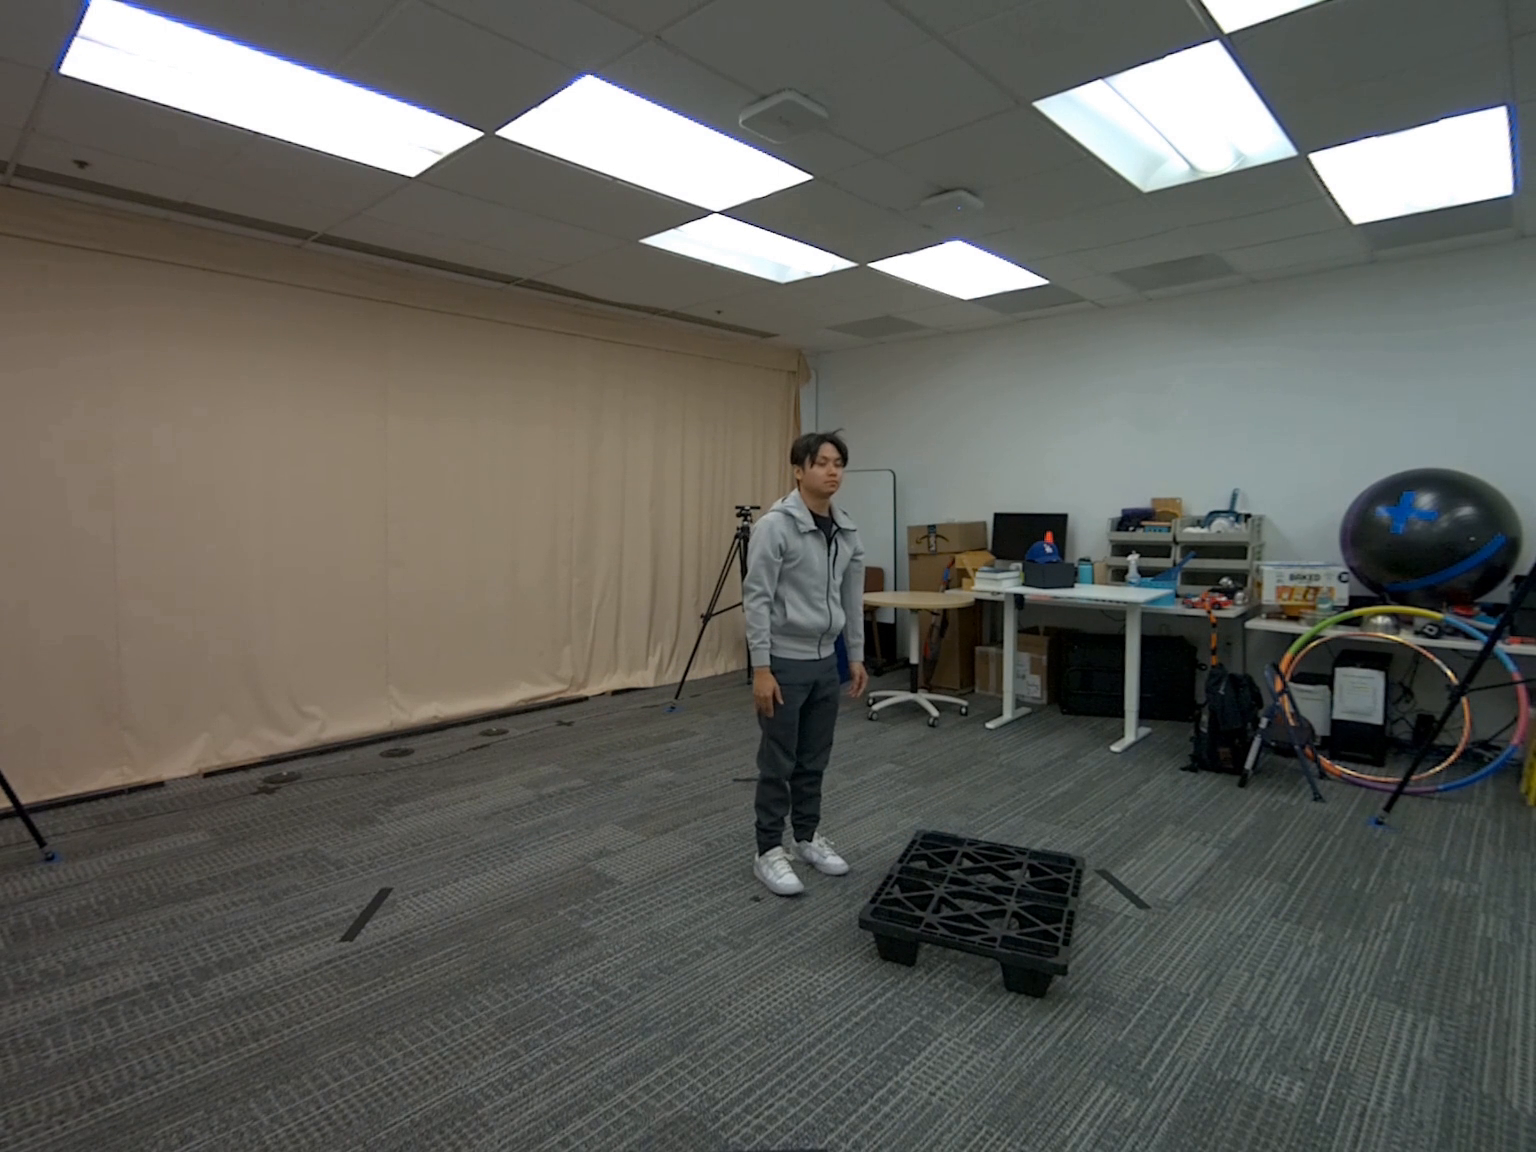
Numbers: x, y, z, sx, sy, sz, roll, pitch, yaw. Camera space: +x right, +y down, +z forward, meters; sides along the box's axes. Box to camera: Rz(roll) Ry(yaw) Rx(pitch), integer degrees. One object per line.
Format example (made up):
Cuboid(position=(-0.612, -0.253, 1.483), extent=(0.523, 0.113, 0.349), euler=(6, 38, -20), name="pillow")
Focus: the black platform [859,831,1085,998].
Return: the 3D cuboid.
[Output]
Cuboid(position=(0.712, 1.088, 2.798), extent=(0.621, 0.143, 0.787), euler=(3, 6, 25), name="black platform")
